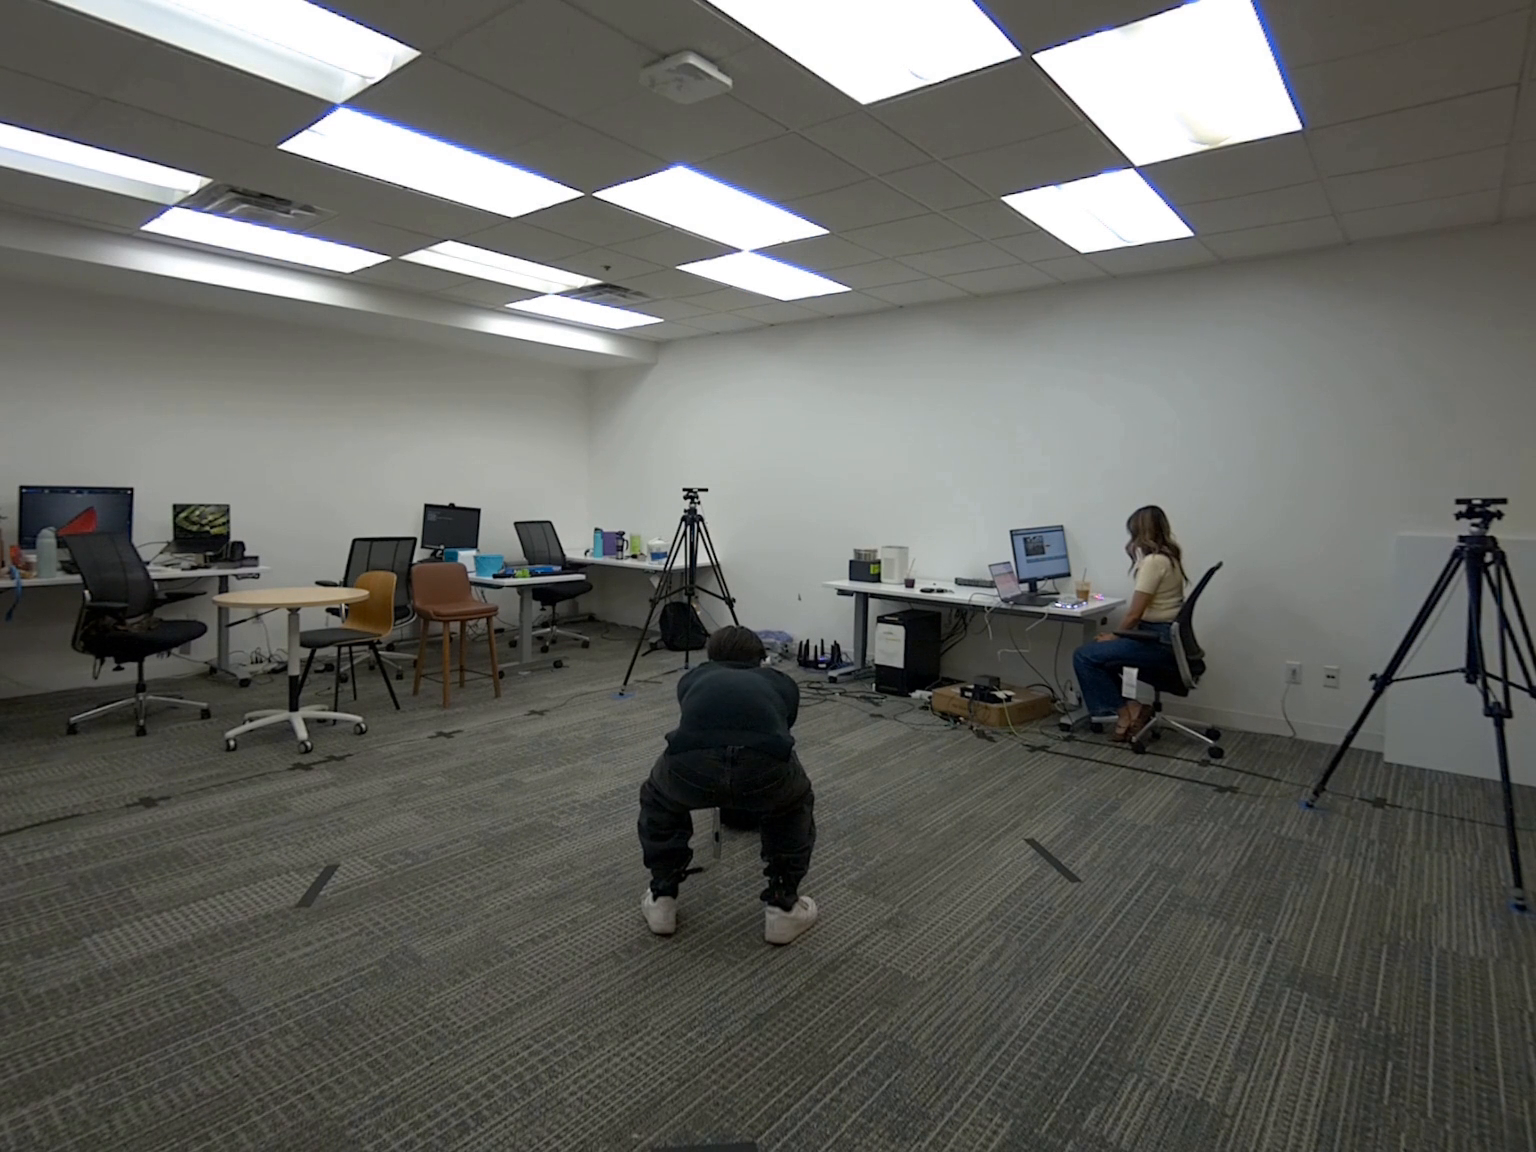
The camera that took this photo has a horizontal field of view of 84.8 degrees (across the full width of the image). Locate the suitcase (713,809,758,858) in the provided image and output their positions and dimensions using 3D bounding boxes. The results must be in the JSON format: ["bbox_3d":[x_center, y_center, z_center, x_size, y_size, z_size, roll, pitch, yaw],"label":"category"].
[{"bbox_3d":[-0.099,0.844,3.474,0.256,0.382,0.984,-1,5,-3],"label":"suitcase"}]
